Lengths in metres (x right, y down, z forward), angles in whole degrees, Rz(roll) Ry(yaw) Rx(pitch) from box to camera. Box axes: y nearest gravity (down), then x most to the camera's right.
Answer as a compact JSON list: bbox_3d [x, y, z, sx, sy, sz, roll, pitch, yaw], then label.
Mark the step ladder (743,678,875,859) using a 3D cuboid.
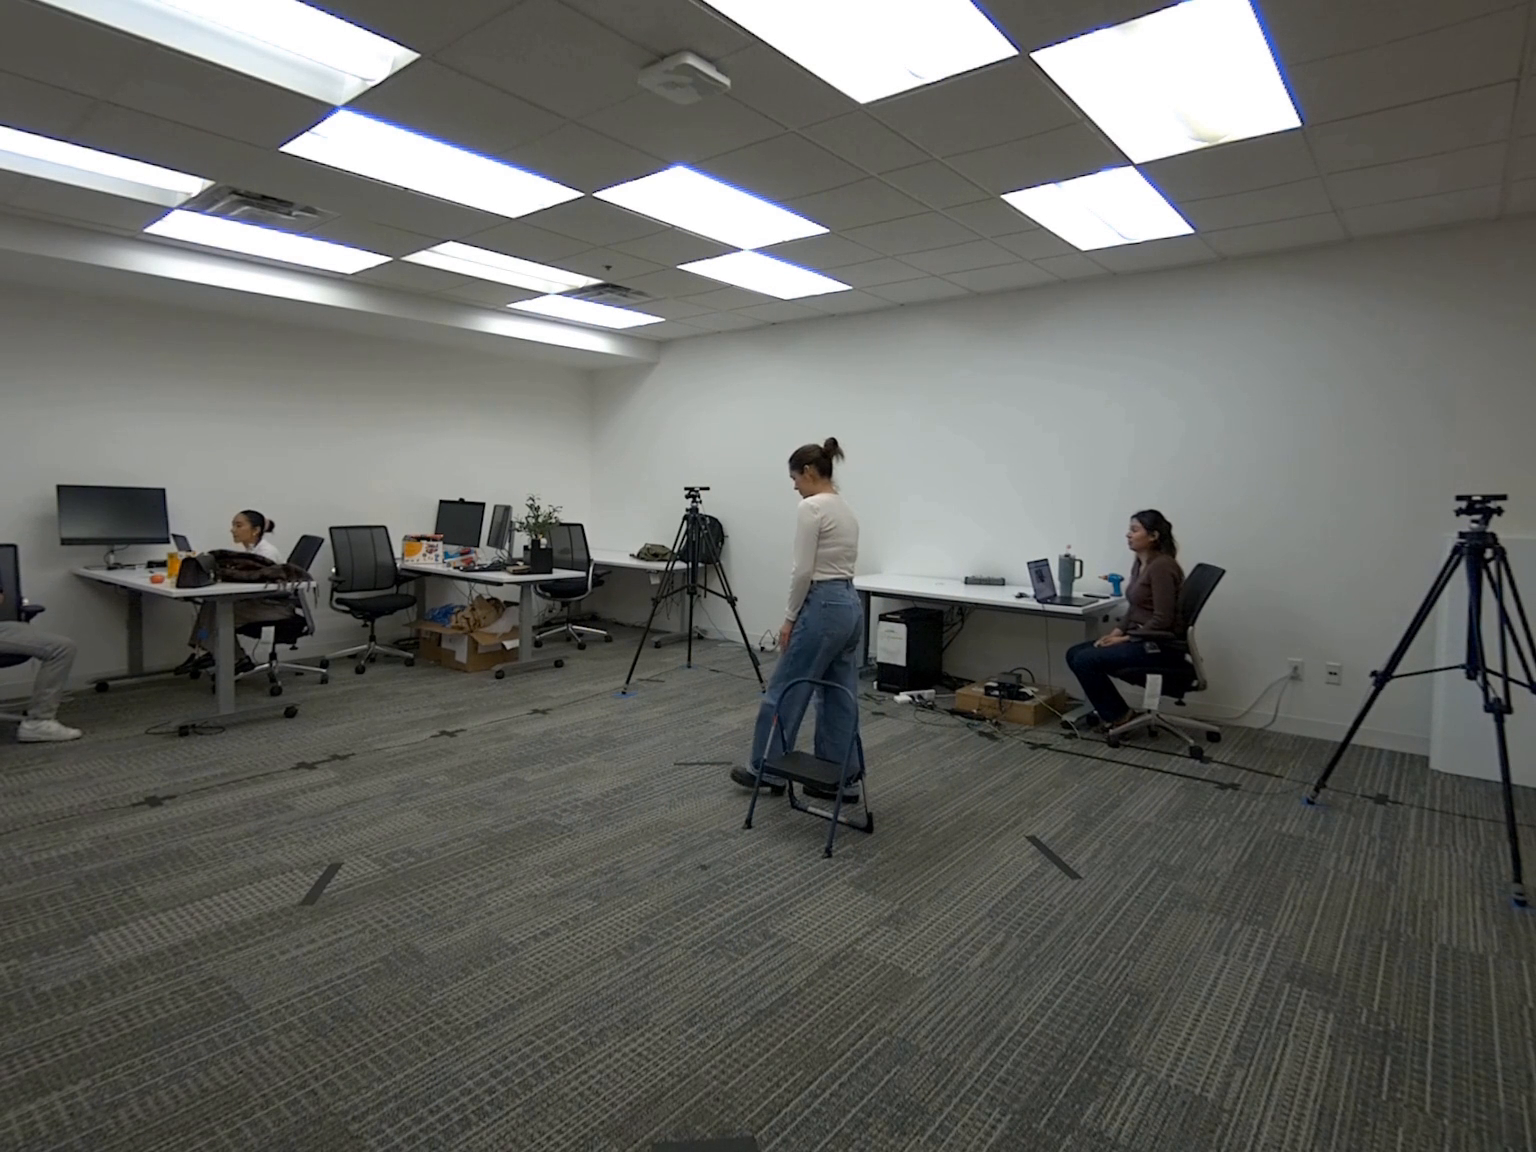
[{"bbox_3d":[0.168,0.735,3.467,0.445,0.604,0.339,4,4,39],"label":"step ladder"}]
